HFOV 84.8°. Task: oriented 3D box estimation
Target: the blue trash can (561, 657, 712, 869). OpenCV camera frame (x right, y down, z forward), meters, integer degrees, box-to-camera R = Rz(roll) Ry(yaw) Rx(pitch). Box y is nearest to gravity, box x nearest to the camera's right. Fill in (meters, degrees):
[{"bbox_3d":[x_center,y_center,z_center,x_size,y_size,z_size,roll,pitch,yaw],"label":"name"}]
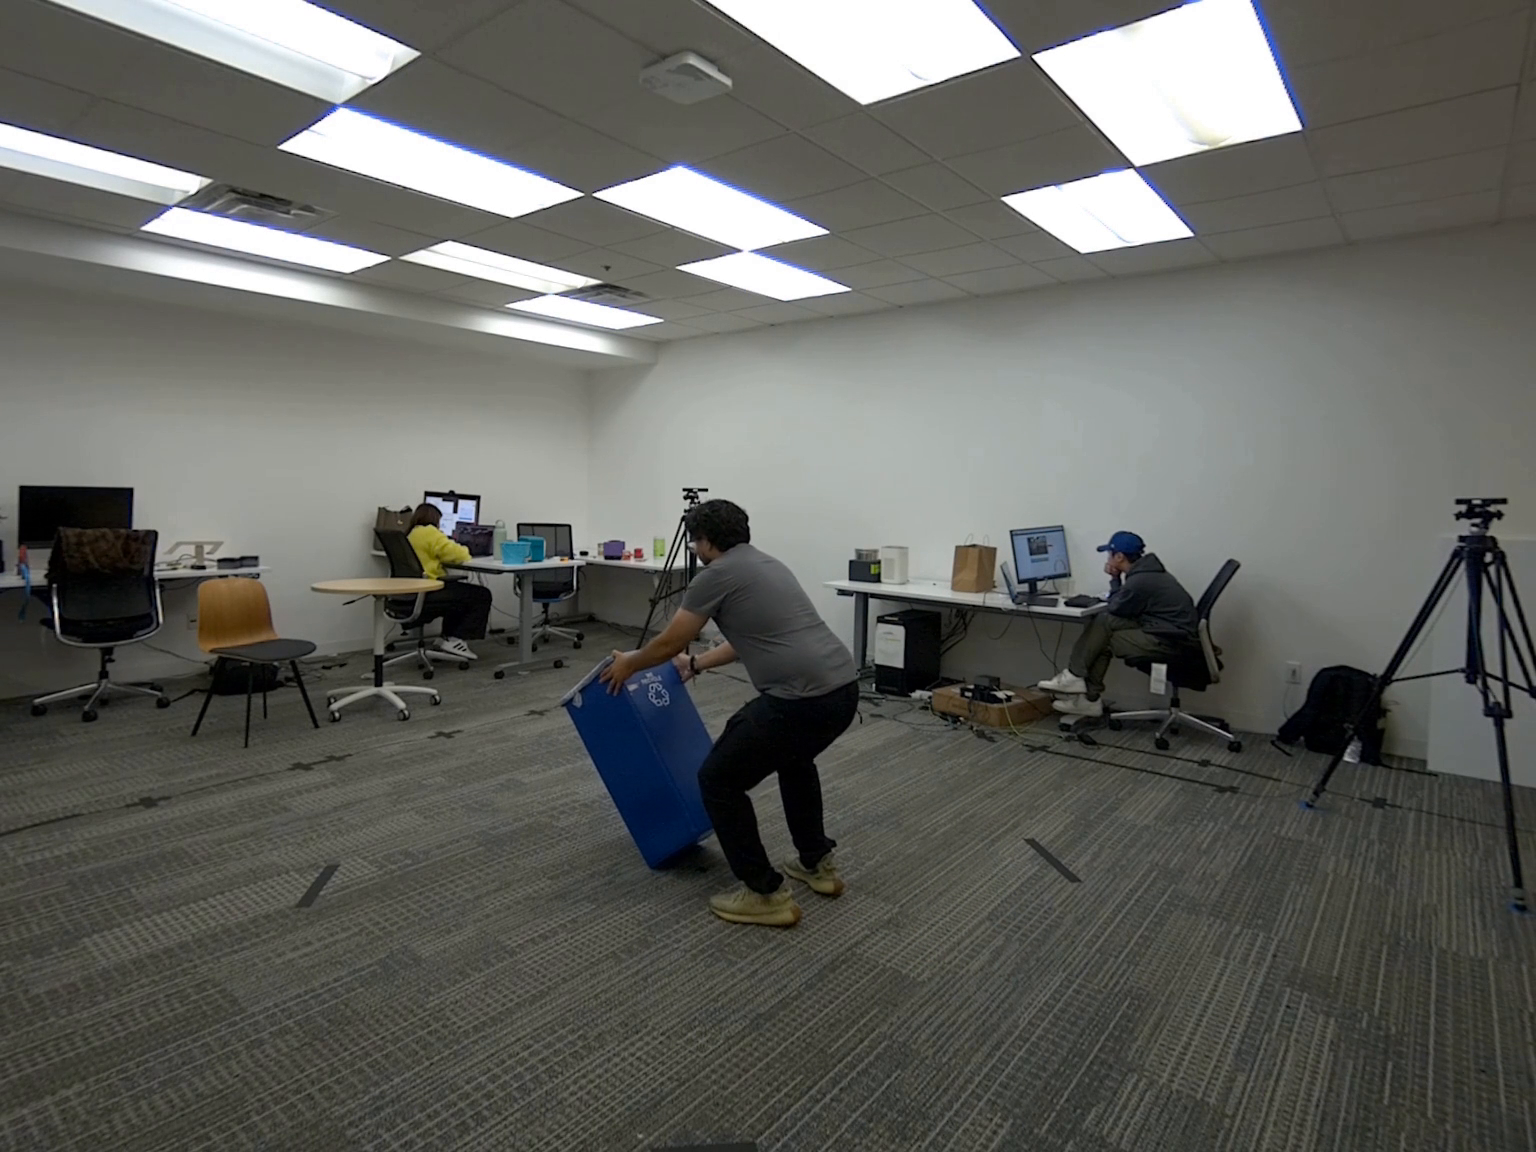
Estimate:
[{"bbox_3d":[-0.444,0.681,3.277,0.379,0.732,0.363,-42,-21,29],"label":"blue trash can"}]
